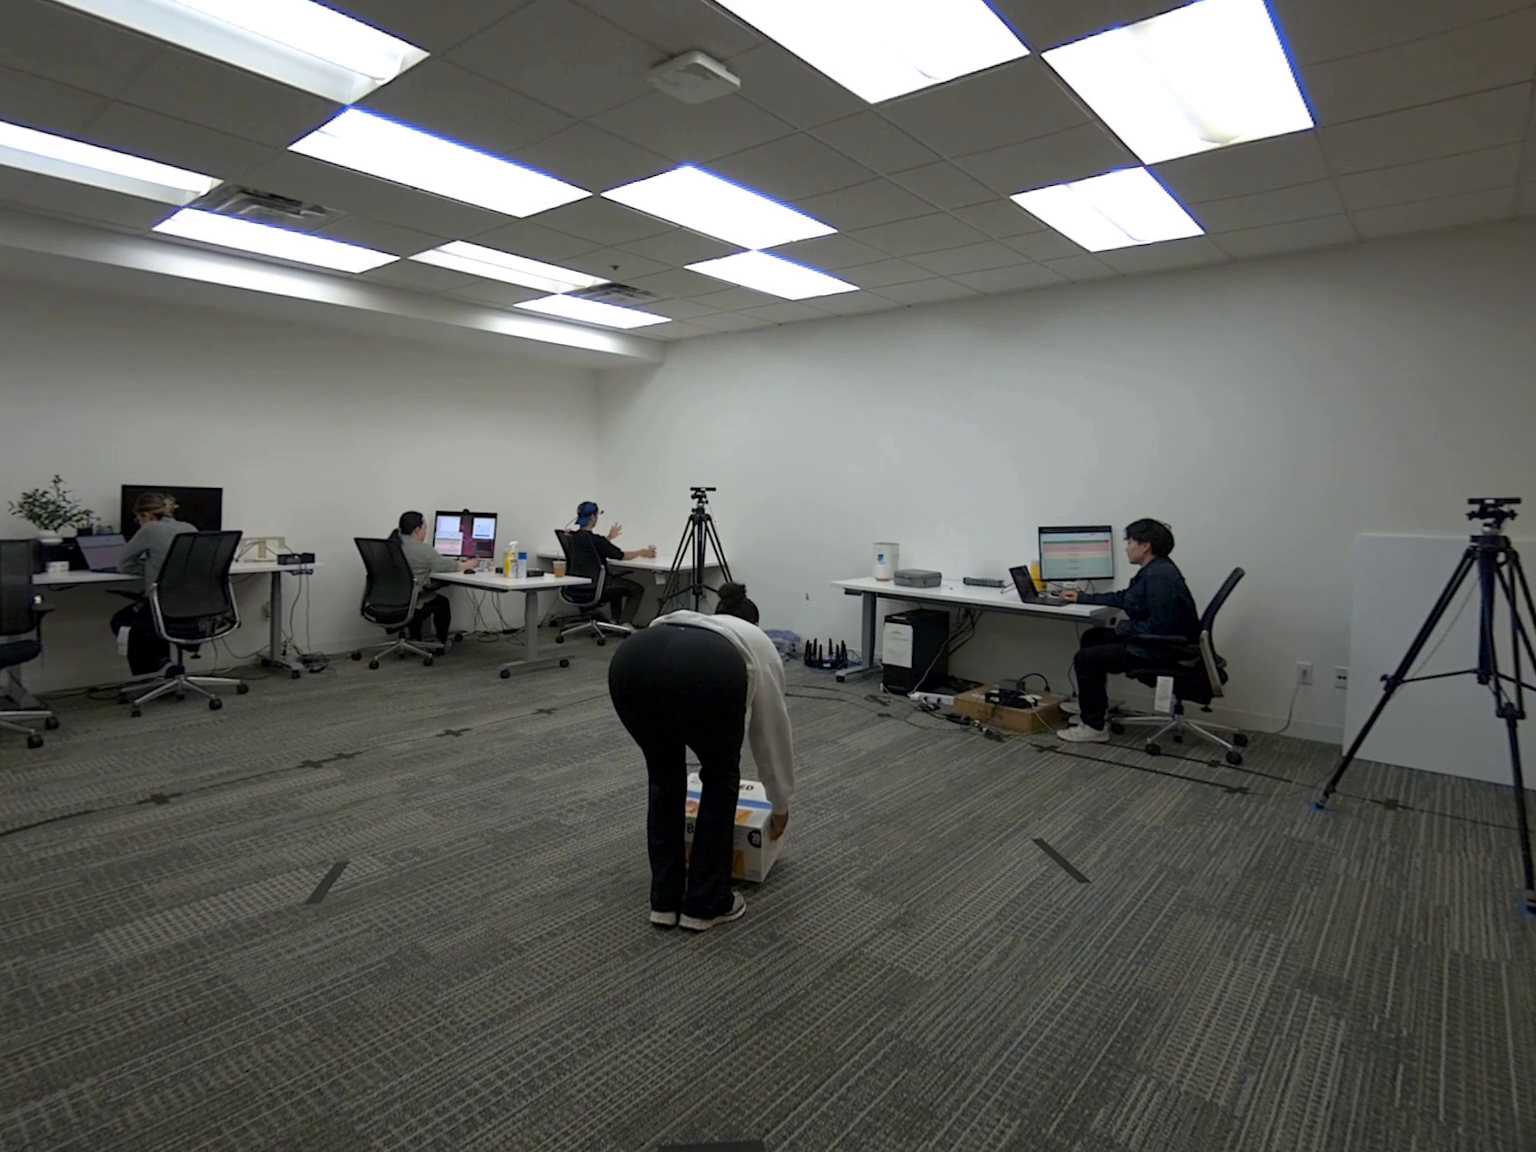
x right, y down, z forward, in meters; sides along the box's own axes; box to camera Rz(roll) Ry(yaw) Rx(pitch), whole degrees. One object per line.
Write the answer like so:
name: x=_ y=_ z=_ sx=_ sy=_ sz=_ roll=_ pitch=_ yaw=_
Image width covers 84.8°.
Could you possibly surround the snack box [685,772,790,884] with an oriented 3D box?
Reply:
snack box: x=-0.170 y=0.907 z=3.115 sx=0.414 sy=0.203 sz=0.337 roll=2 pitch=12 yaw=19
